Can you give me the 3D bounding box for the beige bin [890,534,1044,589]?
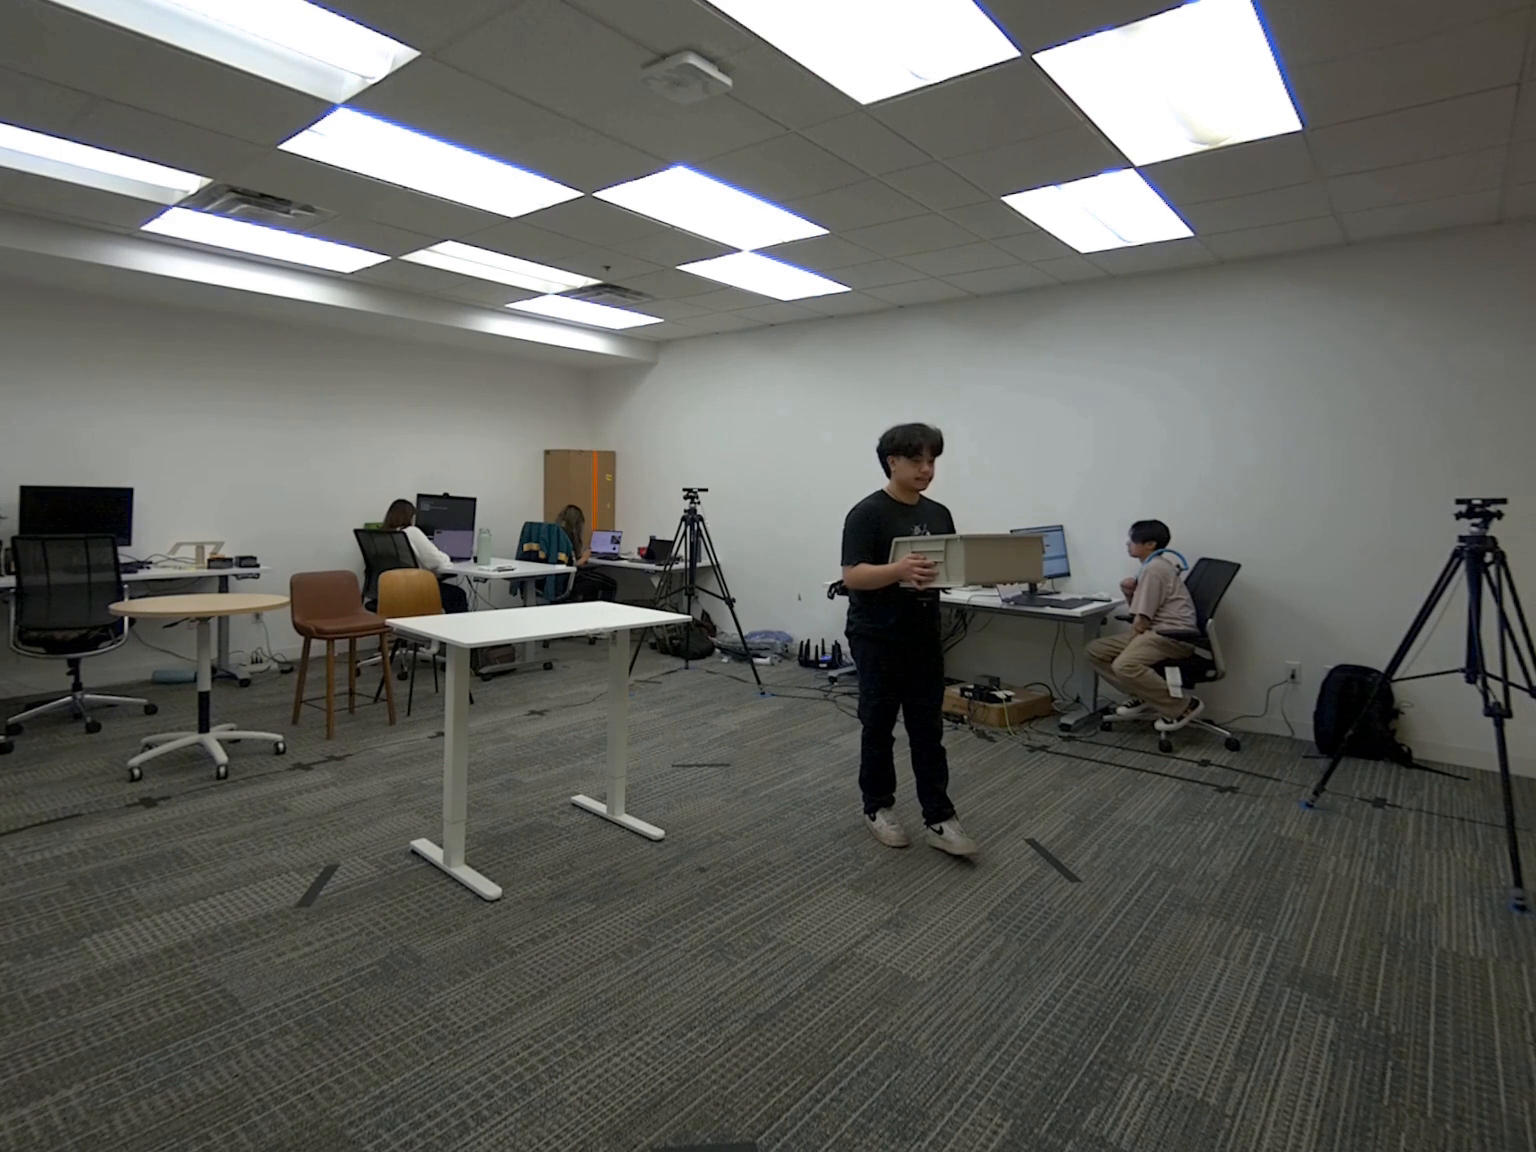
[{"bbox_3d":[0.725,-0.062,3.096,0.411,0.189,0.388,-2,2,-30],"label":"beige bin"}]
